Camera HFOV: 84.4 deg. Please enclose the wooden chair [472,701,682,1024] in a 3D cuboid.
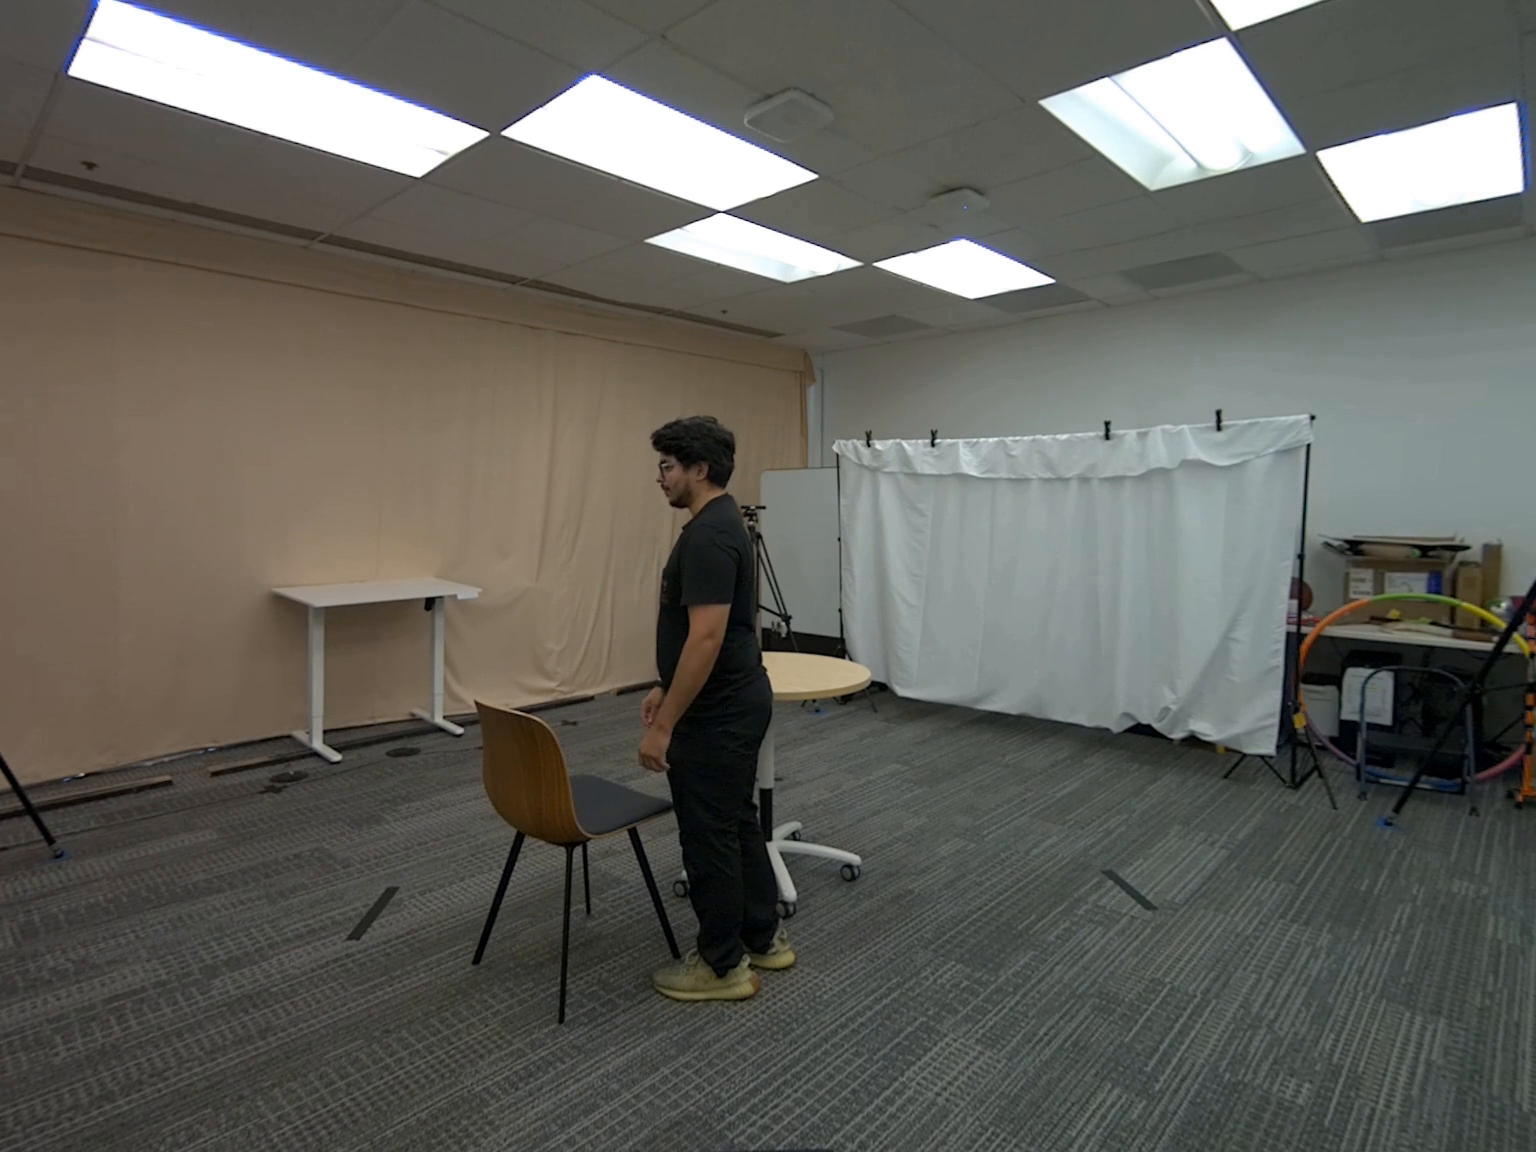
[{"bbox_3d":[-0.583,0.756,2.559,0.494,0.874,0.508,1,8,41],"label":"wooden chair"}]
